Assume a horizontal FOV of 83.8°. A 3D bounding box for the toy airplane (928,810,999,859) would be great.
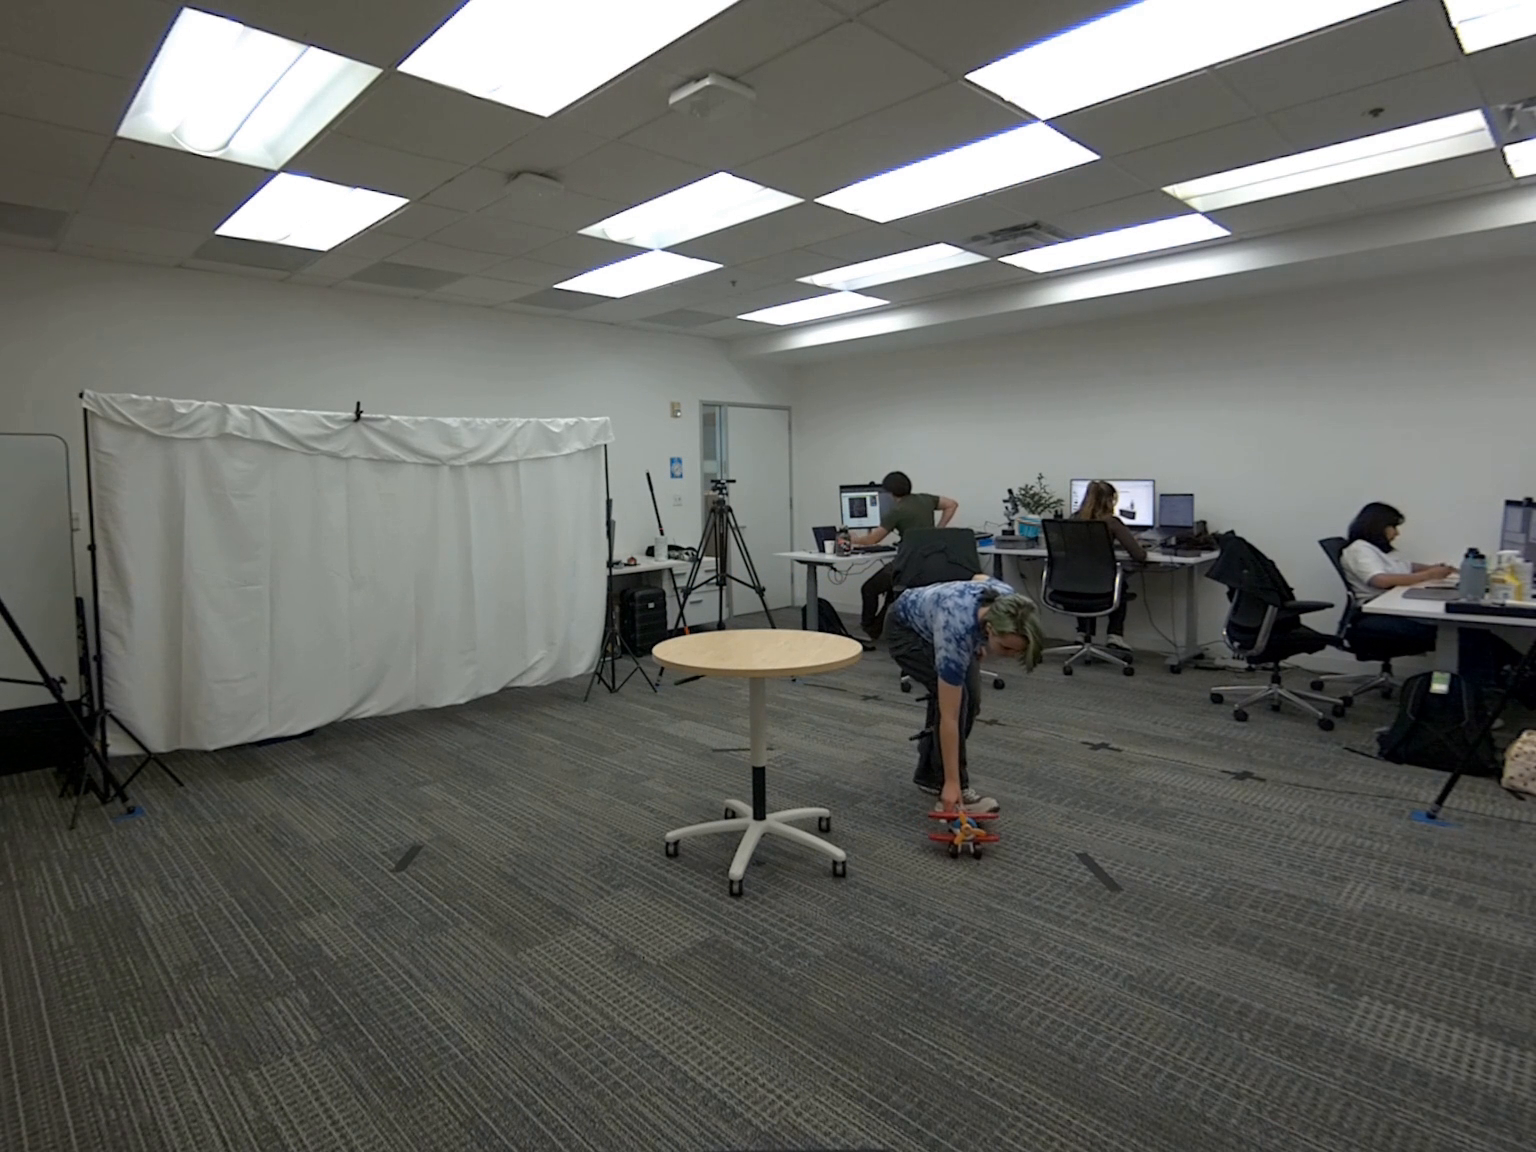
[{"bbox_3d":[0.718,0.950,3.212,0.246,0.155,0.266,-2,7,-25],"label":"toy airplane"}]
